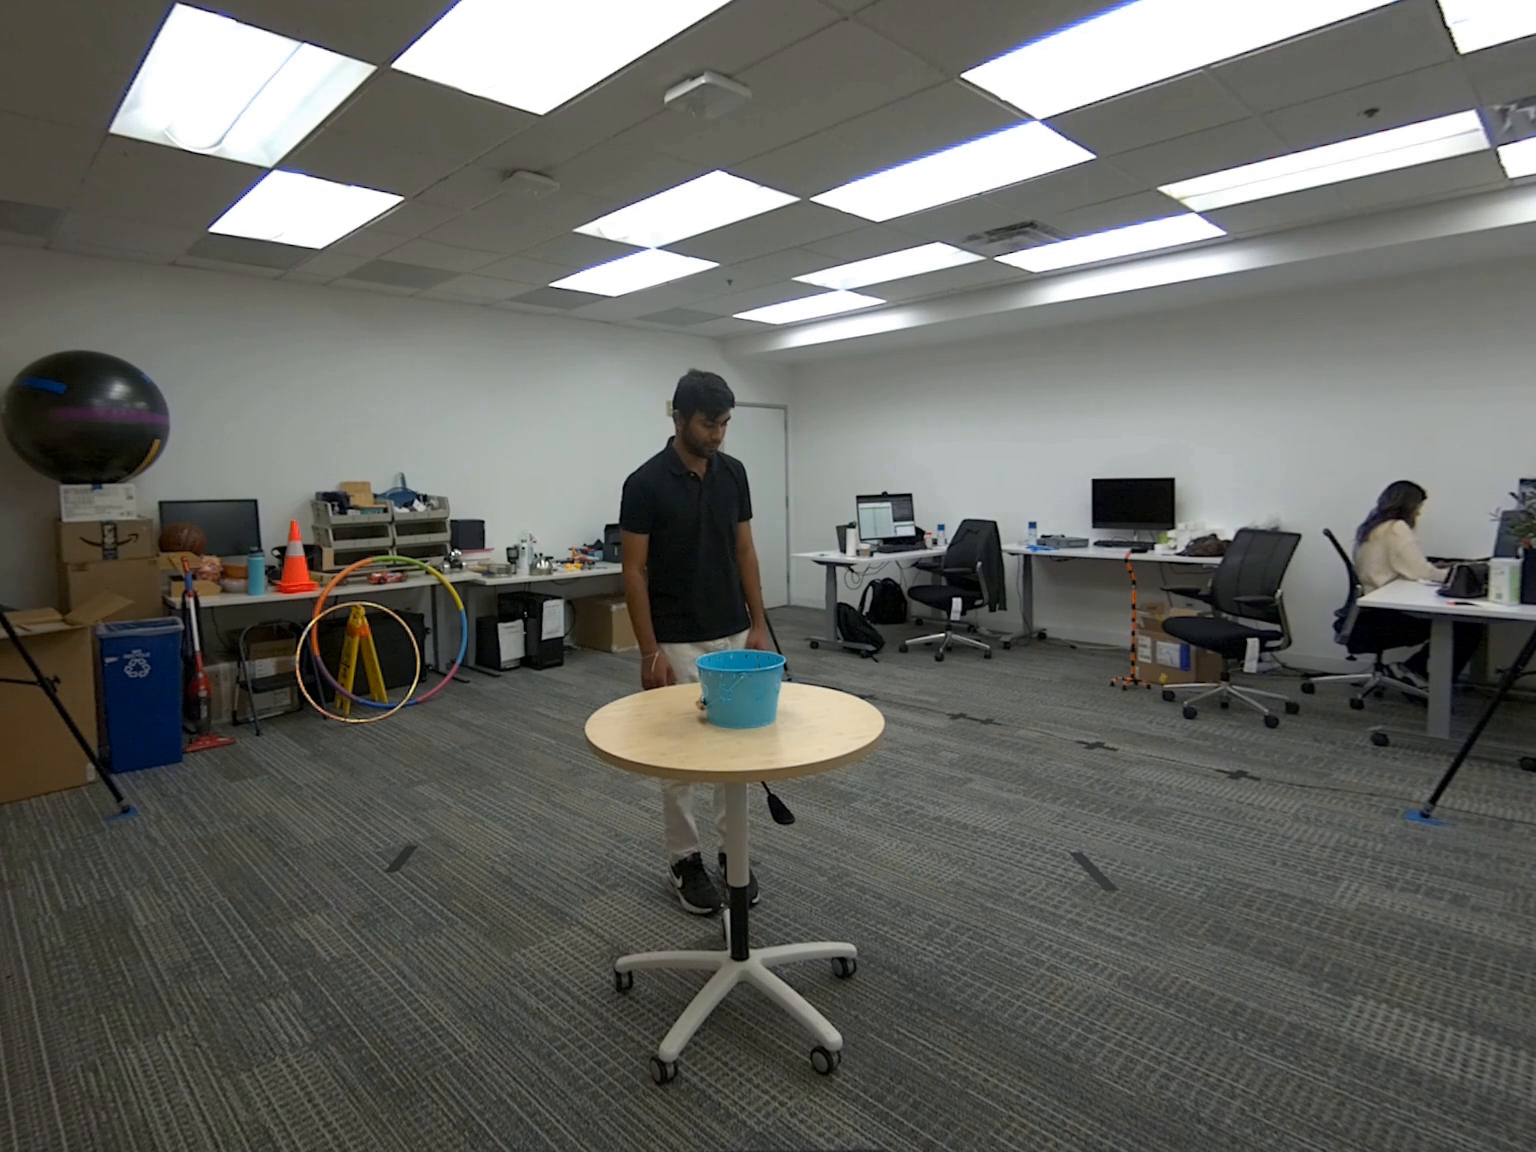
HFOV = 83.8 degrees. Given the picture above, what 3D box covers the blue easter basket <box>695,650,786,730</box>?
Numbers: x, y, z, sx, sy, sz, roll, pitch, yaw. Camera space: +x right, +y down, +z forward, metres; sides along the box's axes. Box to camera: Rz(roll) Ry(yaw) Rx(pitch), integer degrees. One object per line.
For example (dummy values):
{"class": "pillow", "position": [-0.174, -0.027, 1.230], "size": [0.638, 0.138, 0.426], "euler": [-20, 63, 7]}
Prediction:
{"class": "blue easter basket", "position": [-0.067, 0.294, 2.200], "size": [0.243, 0.155, 0.245], "euler": [-1, 6, -2]}
